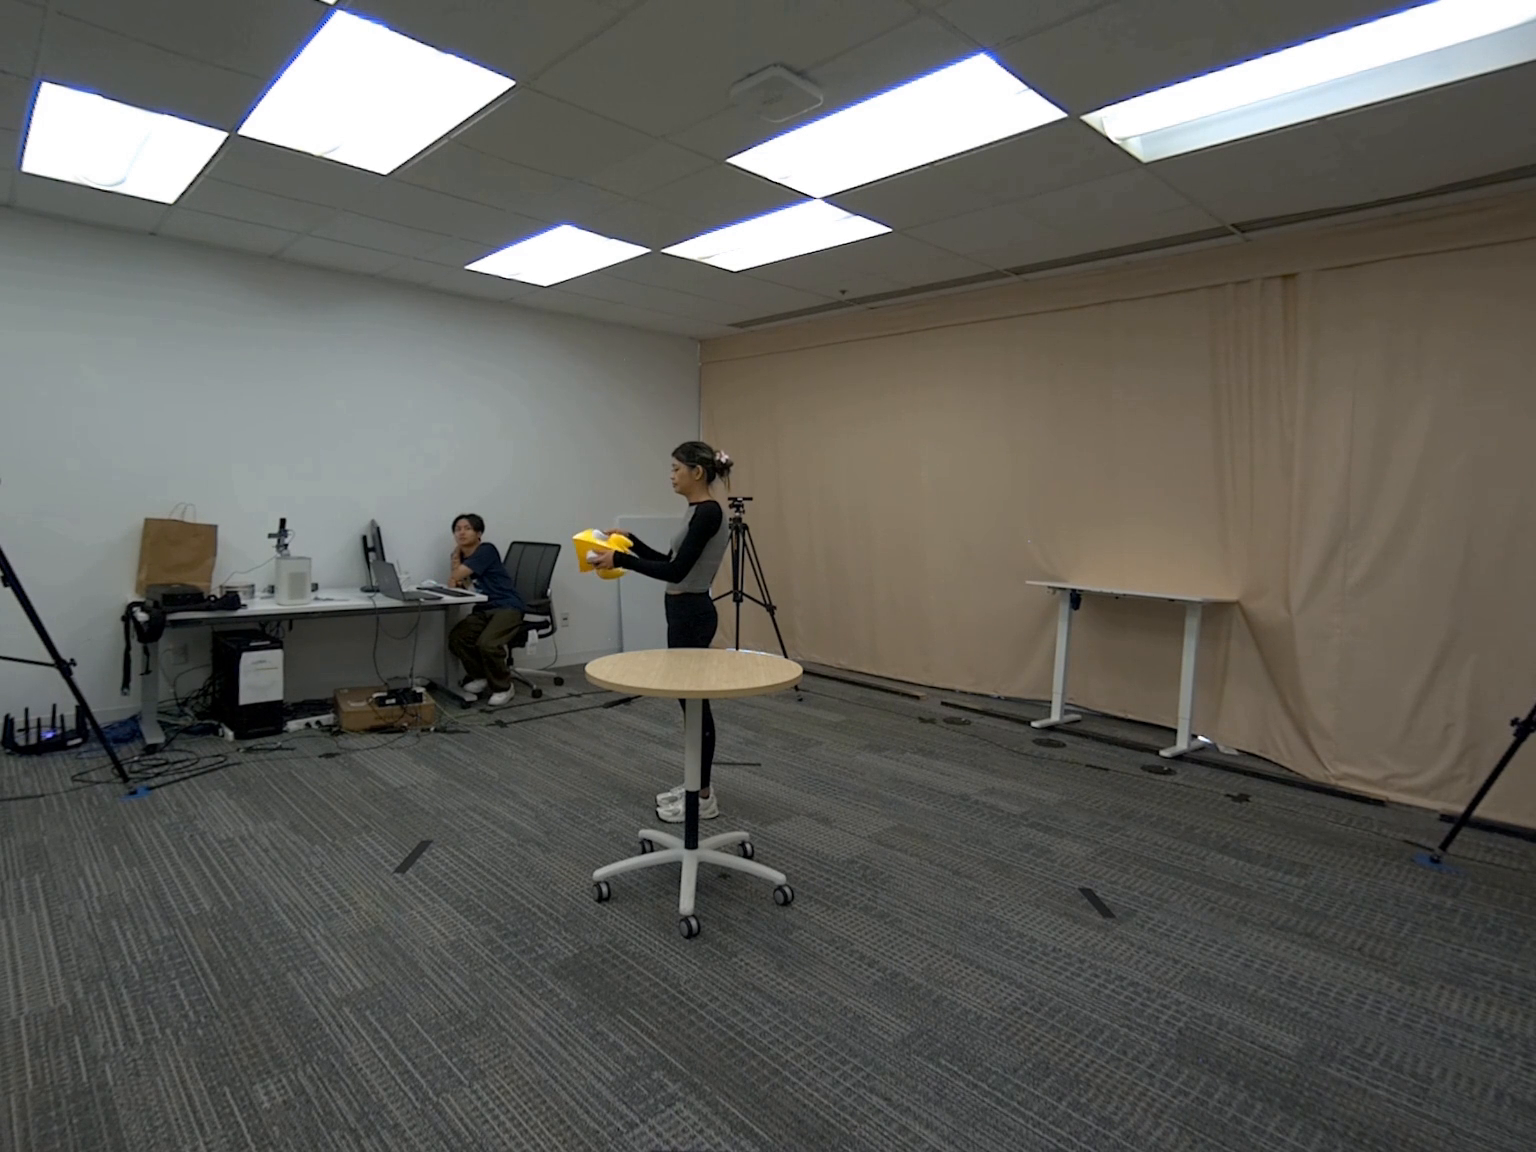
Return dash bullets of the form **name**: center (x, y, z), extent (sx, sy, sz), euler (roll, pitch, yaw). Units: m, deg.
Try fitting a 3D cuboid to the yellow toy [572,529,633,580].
- **yellow toy**: center (-0.730, -0.118, 3.609), extent (0.197, 0.207, 0.224), euler (2, -19, 25)
